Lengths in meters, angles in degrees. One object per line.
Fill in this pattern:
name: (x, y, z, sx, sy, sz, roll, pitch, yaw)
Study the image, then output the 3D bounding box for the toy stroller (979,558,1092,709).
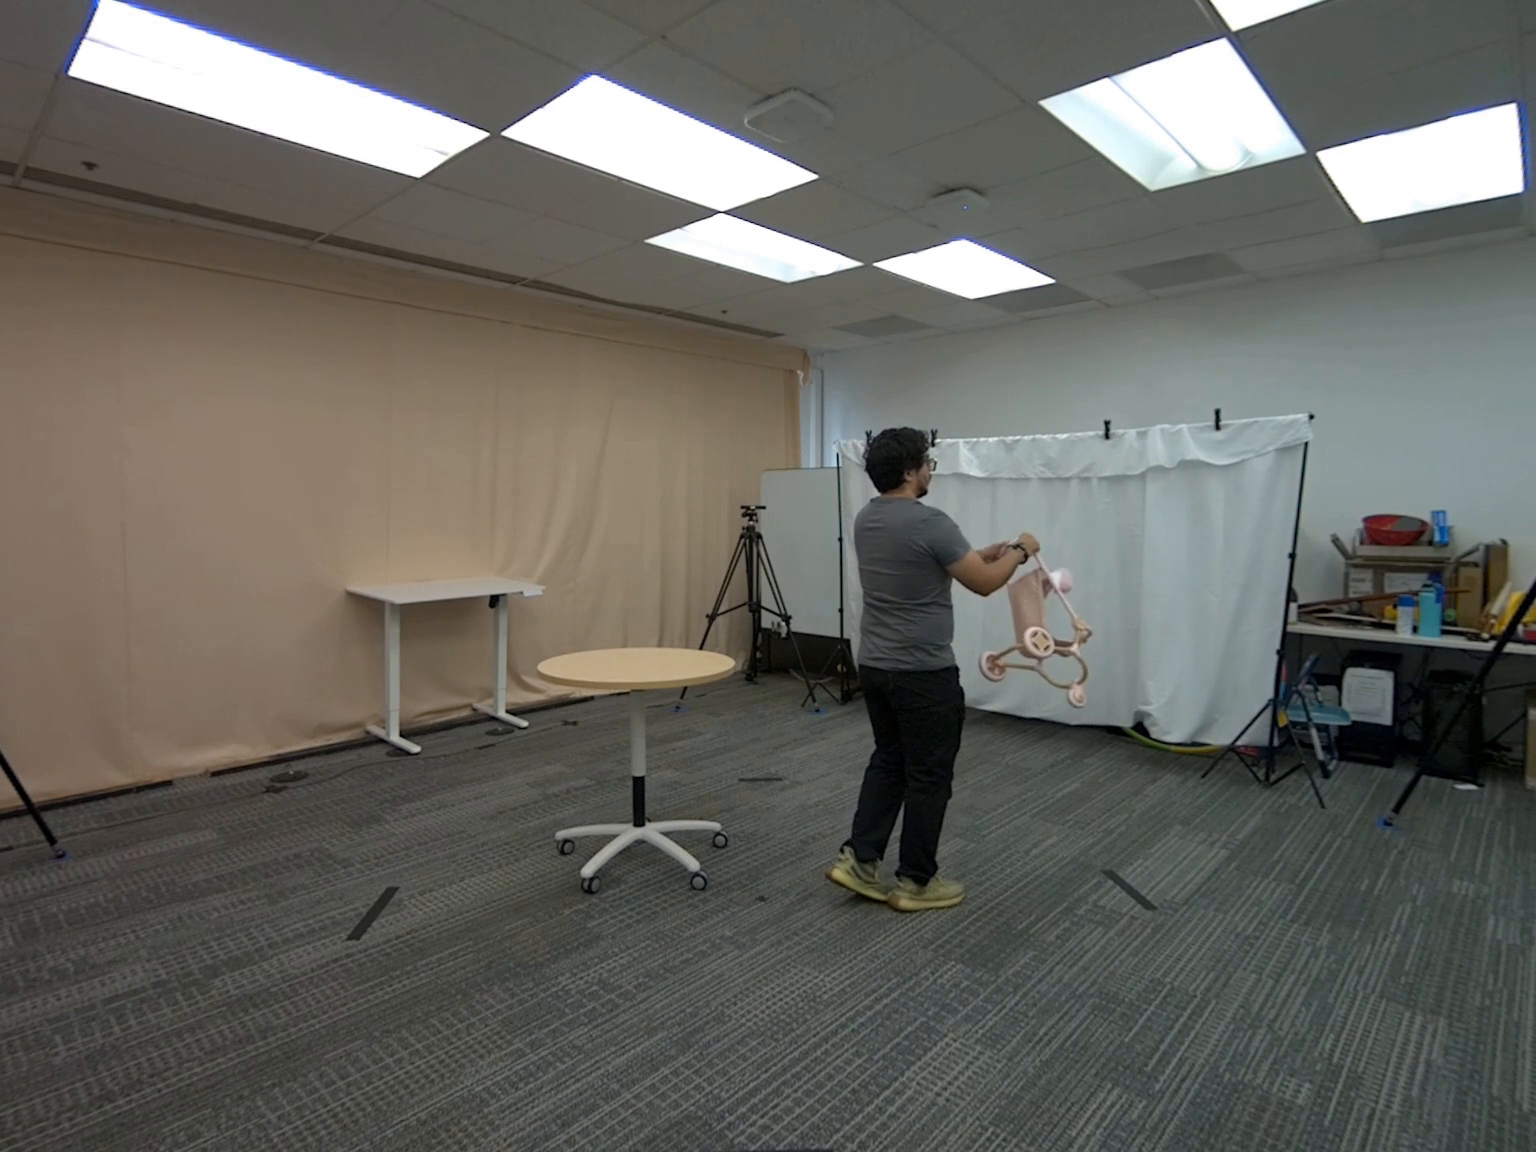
toy stroller: (0.976, 0.169, 2.945, 0.338, 0.540, 0.281, 18, -31, -8)
